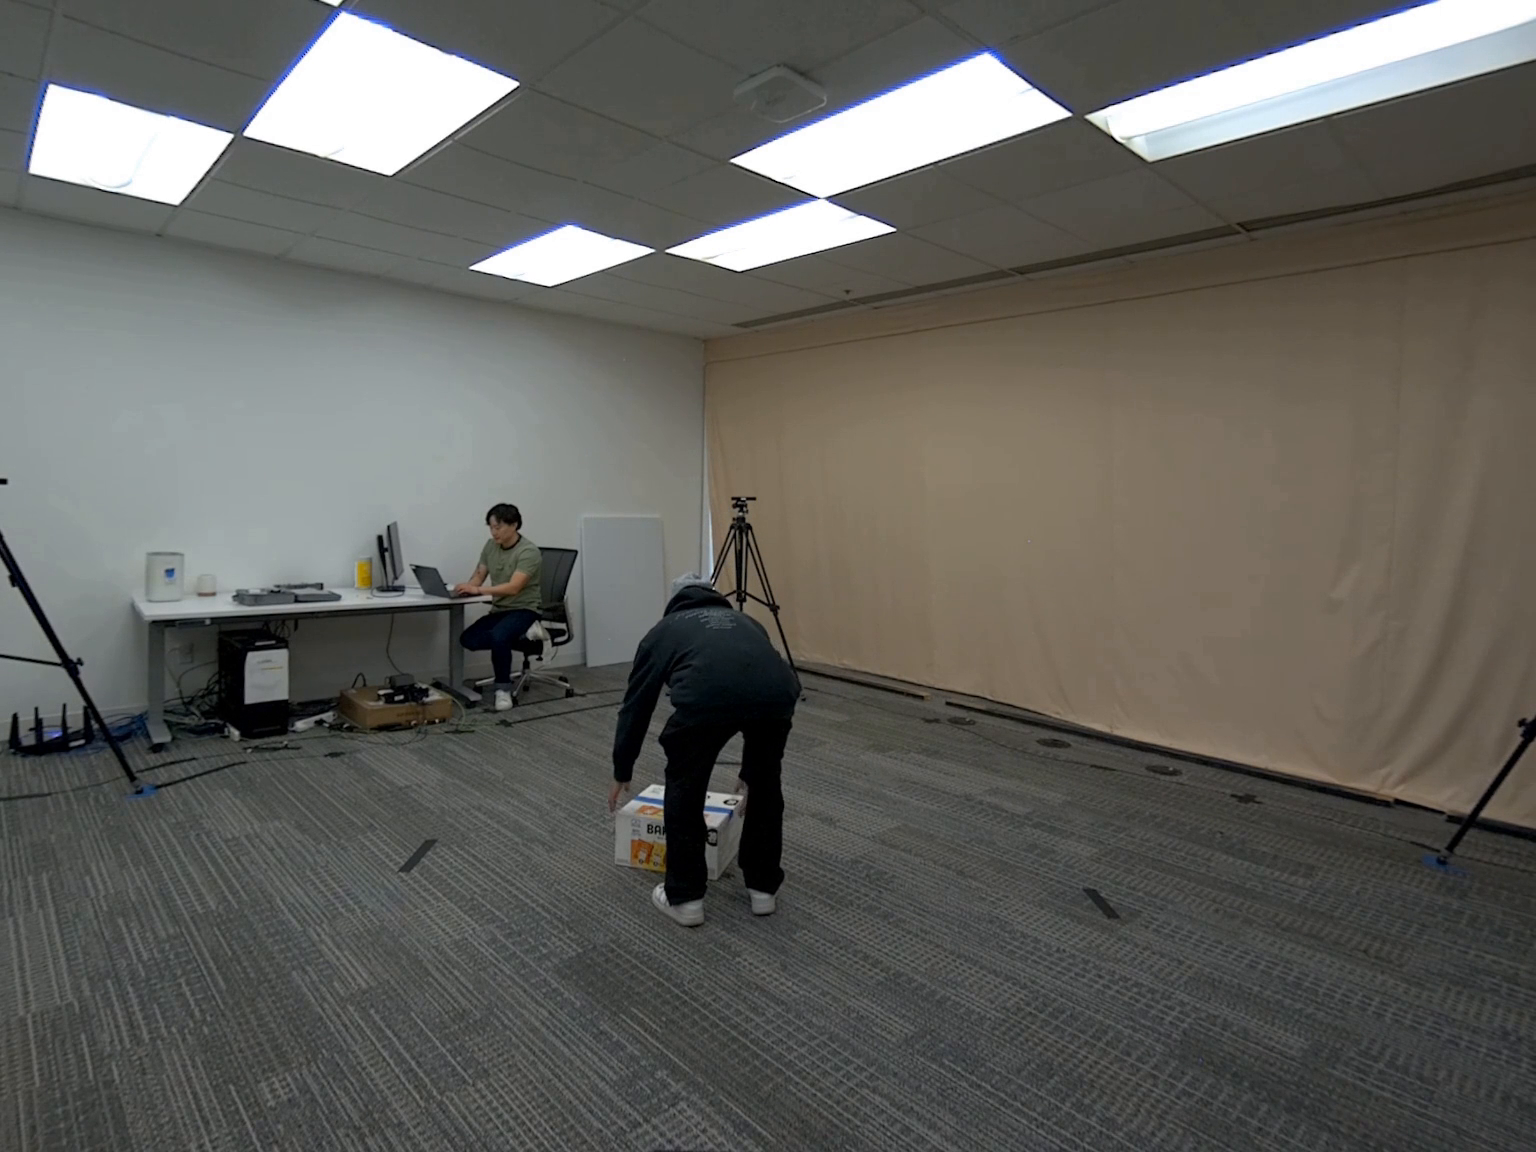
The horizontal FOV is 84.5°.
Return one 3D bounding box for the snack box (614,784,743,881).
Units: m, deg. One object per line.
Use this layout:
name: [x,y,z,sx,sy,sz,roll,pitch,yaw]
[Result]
snack box: [-0.342,0.987,3.268,0.411,0.205,0.337,3,5,16]
